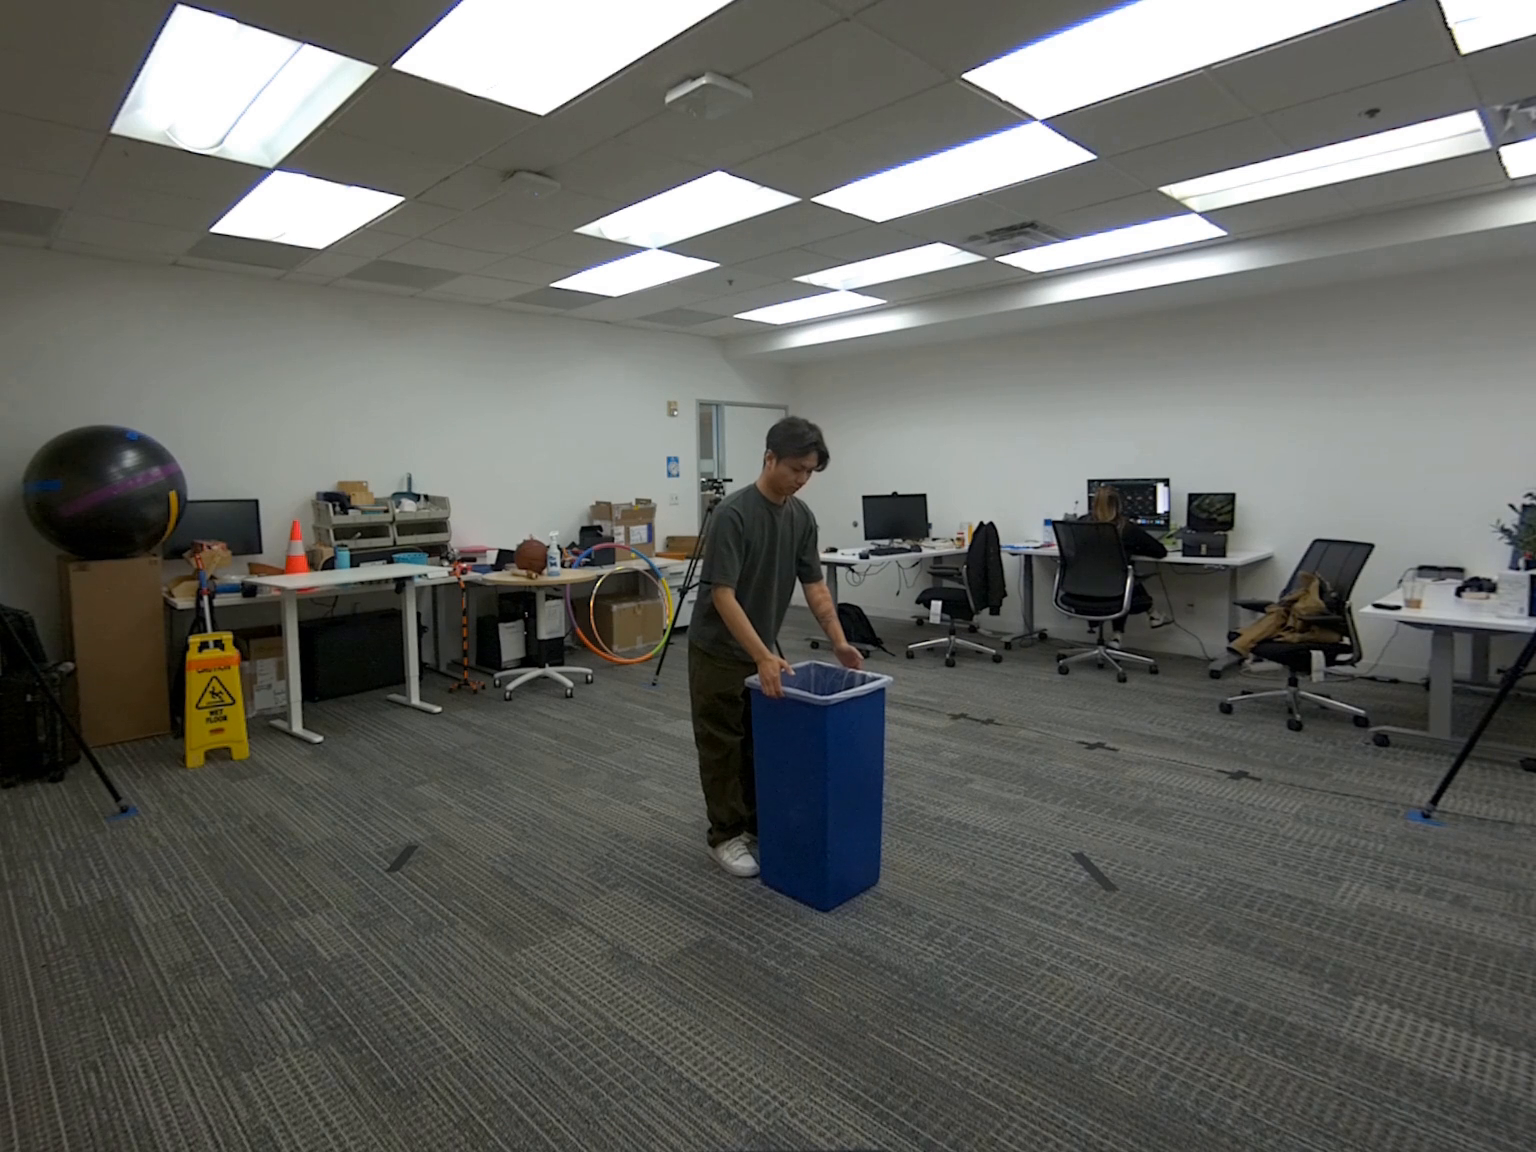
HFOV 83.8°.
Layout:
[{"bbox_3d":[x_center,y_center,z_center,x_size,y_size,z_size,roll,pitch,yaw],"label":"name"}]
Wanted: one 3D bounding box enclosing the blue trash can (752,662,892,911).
[{"bbox_3d":[0.184,0.698,2.913,0.385,0.710,0.368,3,7,44],"label":"blue trash can"}]
